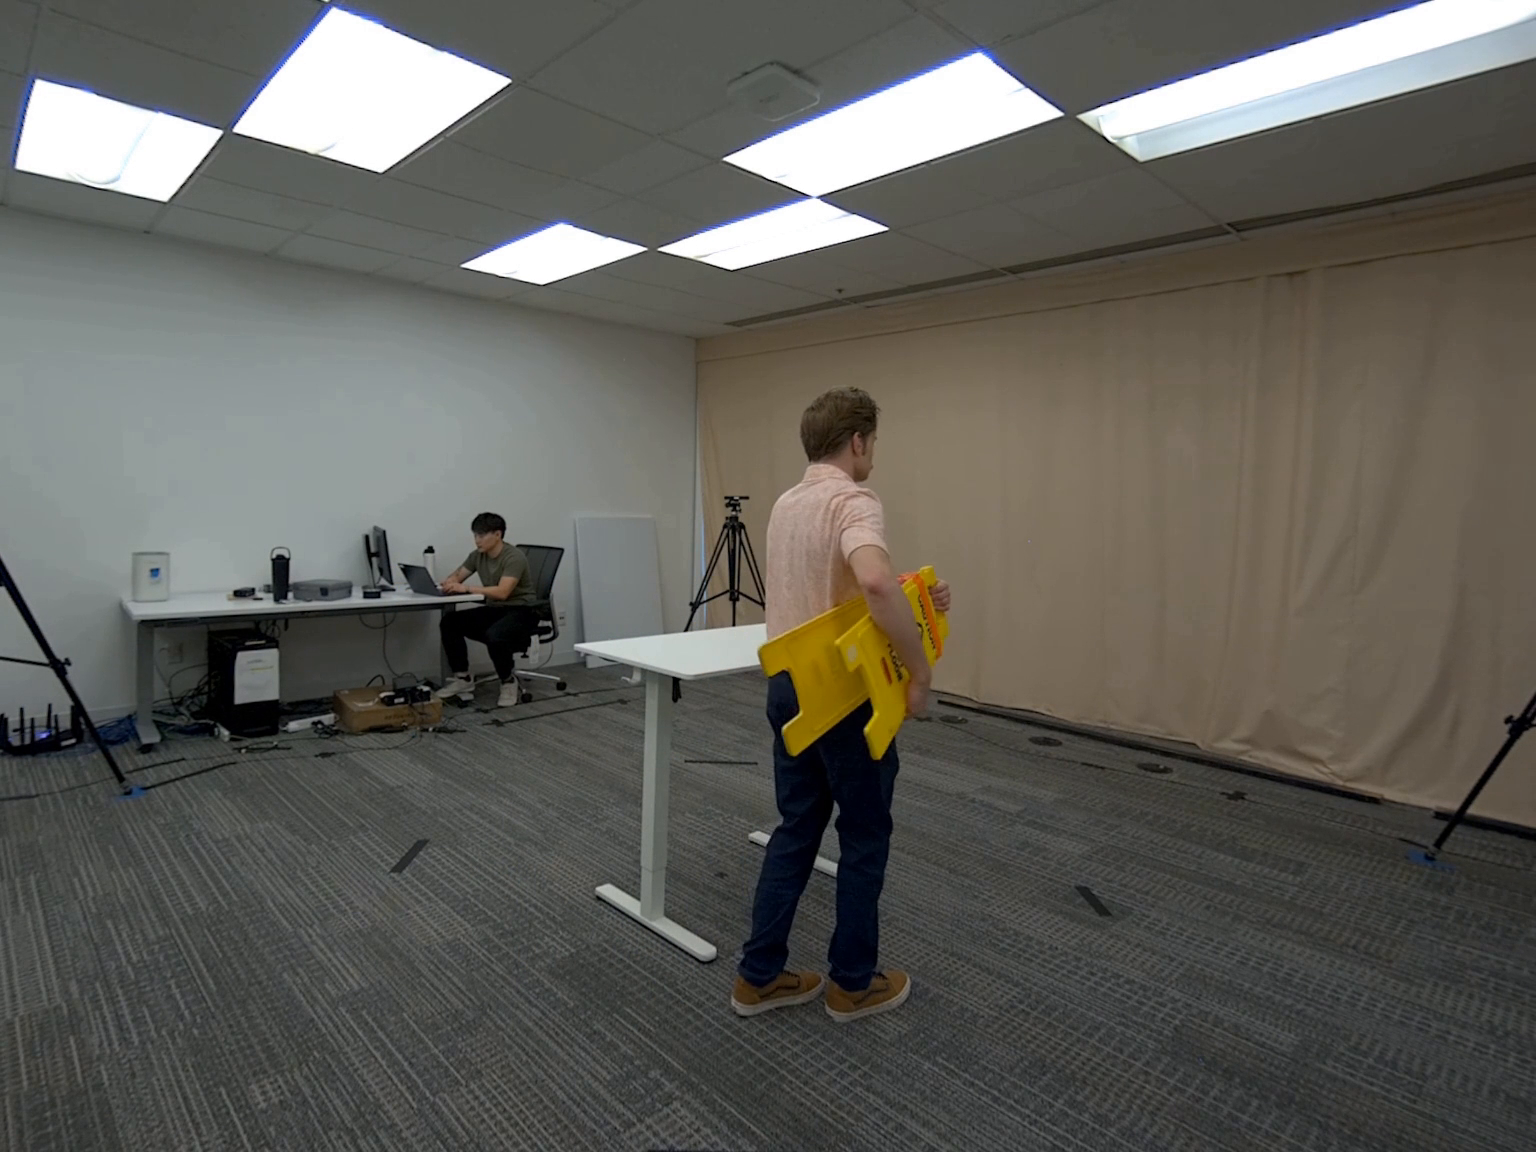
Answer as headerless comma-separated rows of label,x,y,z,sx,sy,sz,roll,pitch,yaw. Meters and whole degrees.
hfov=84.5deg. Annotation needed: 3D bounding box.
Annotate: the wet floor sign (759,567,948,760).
wet floor sign,0.280,0.178,2.088,0.295,0.280,0.639,-8,14,43
